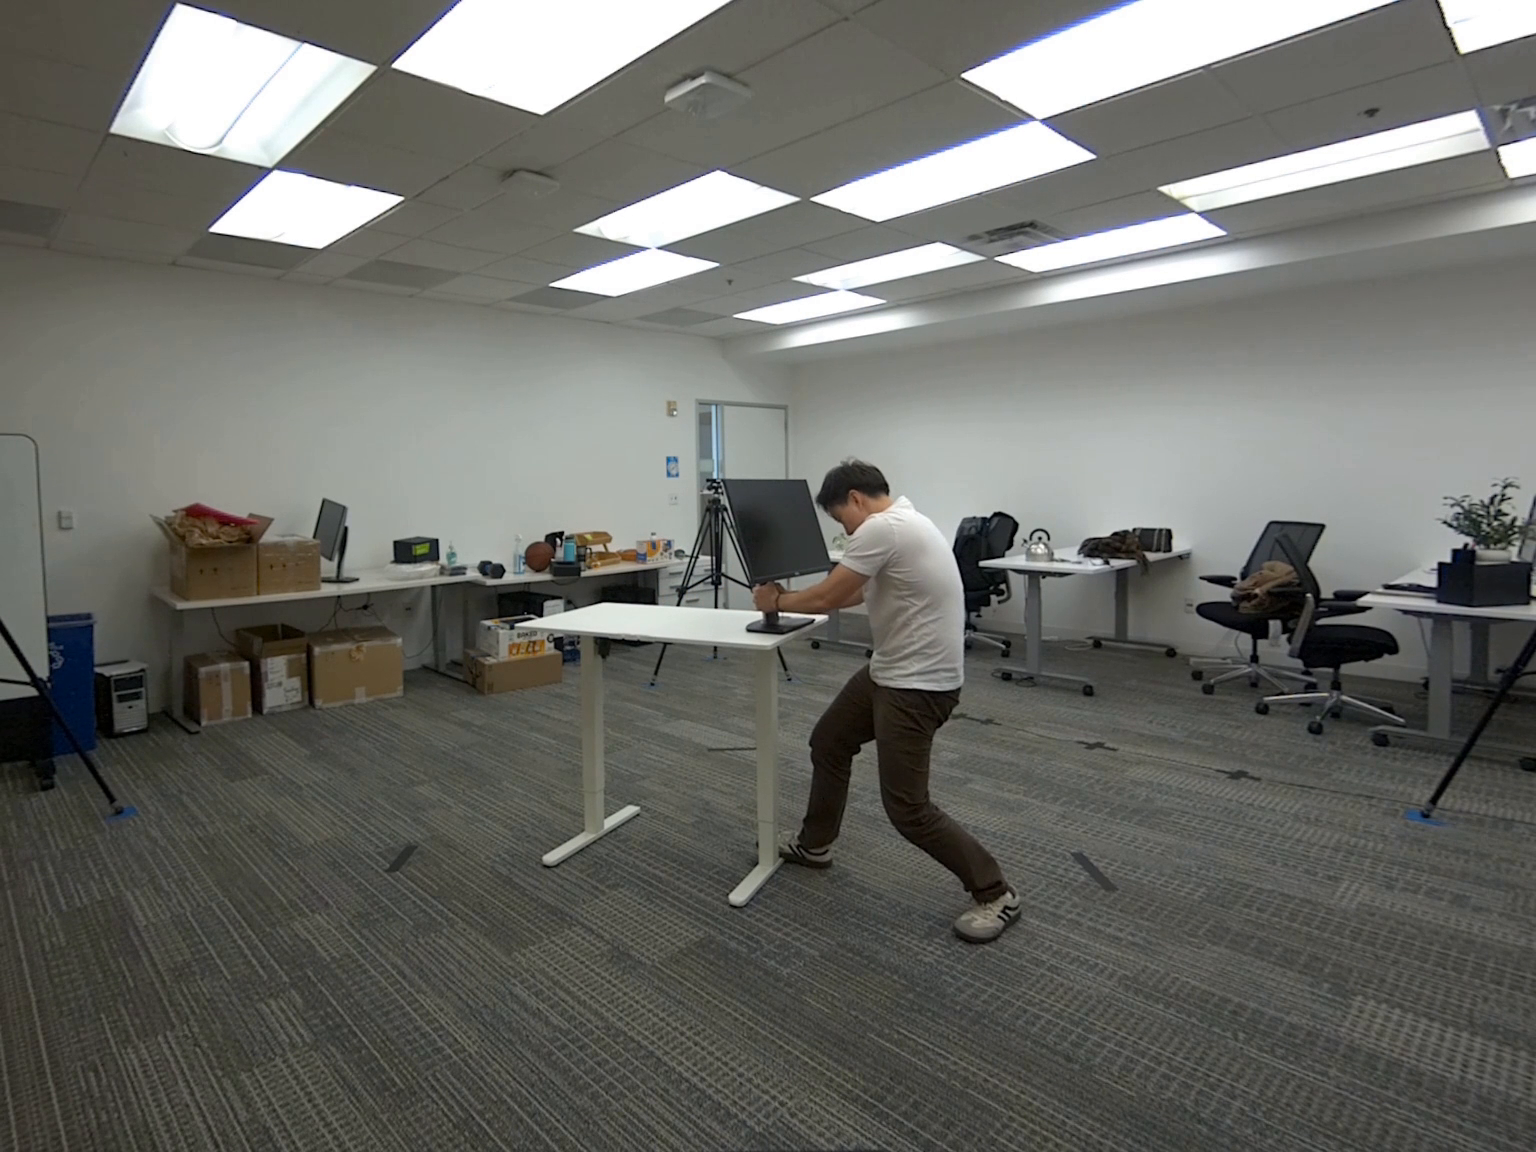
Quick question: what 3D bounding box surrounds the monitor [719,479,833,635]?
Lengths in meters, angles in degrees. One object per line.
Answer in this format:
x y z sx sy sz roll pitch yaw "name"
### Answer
0.030 -0.078 2.974 0.192 0.522 0.526 -3 2 31 "monitor"
